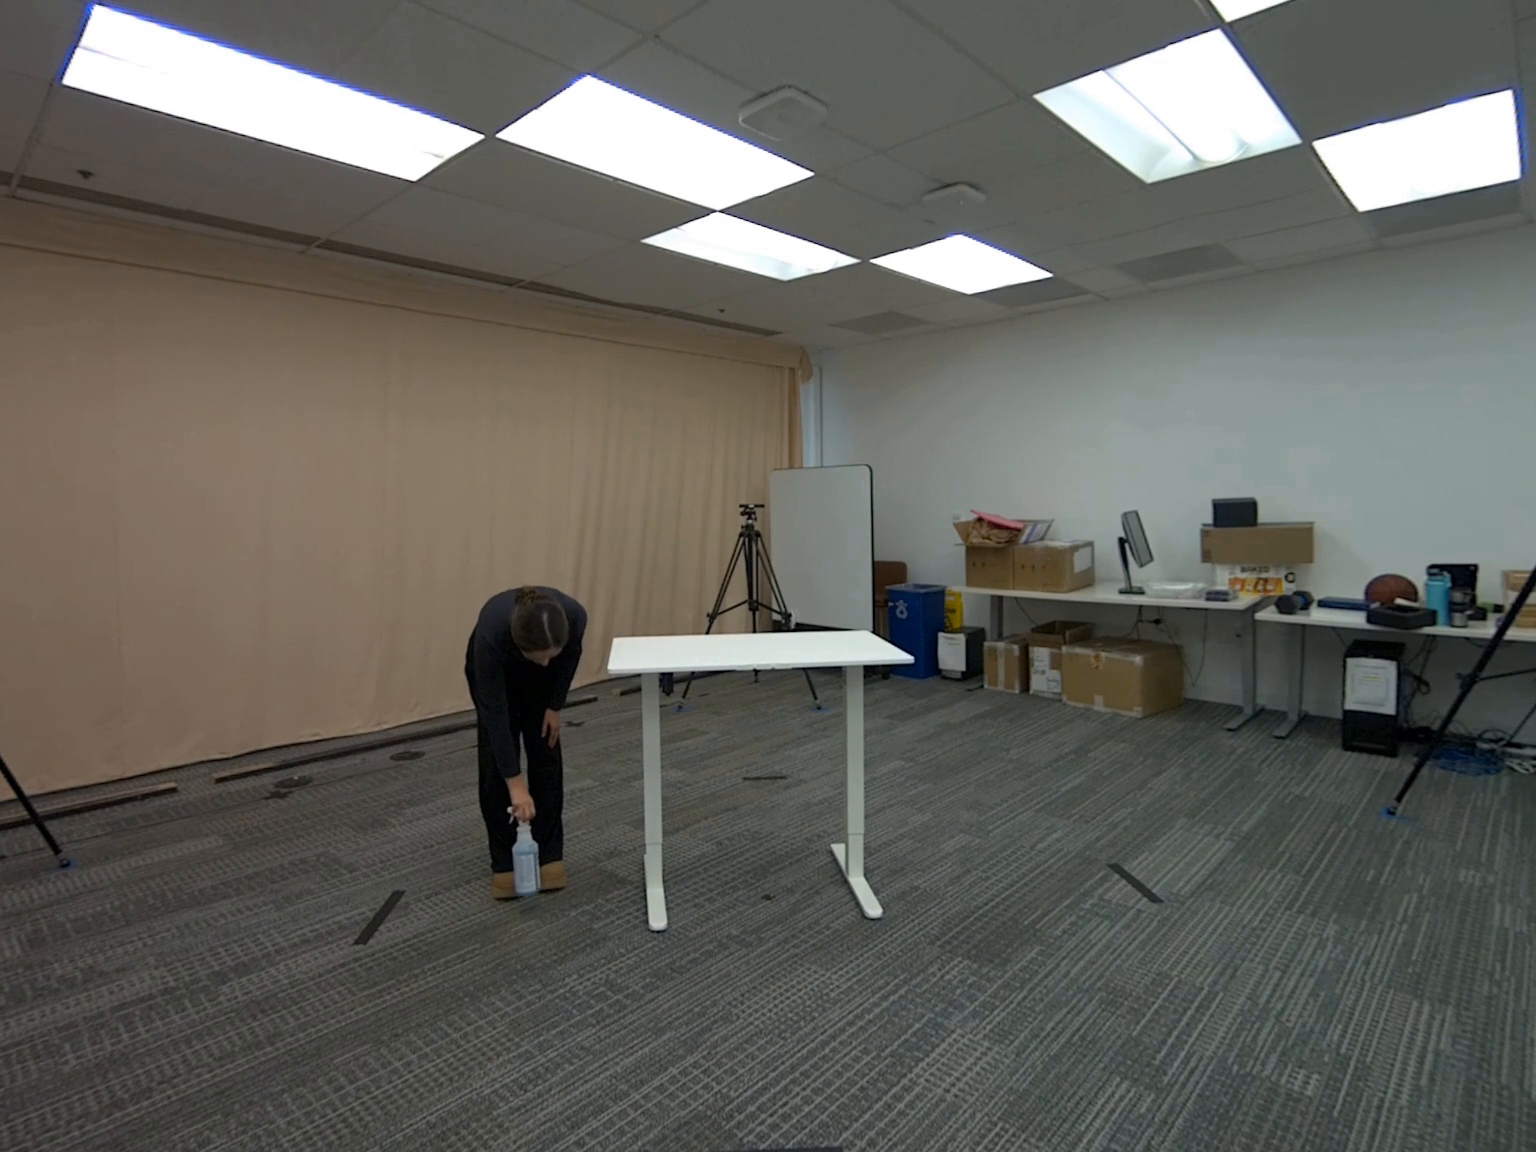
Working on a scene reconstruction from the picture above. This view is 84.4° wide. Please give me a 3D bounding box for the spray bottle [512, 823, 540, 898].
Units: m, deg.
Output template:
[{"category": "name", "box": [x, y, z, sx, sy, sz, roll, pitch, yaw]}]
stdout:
[{"category": "spray bottle", "box": [-0.841, 0.939, 2.900, 0.092, 0.297, 0.085, -2, 4, 23]}]
